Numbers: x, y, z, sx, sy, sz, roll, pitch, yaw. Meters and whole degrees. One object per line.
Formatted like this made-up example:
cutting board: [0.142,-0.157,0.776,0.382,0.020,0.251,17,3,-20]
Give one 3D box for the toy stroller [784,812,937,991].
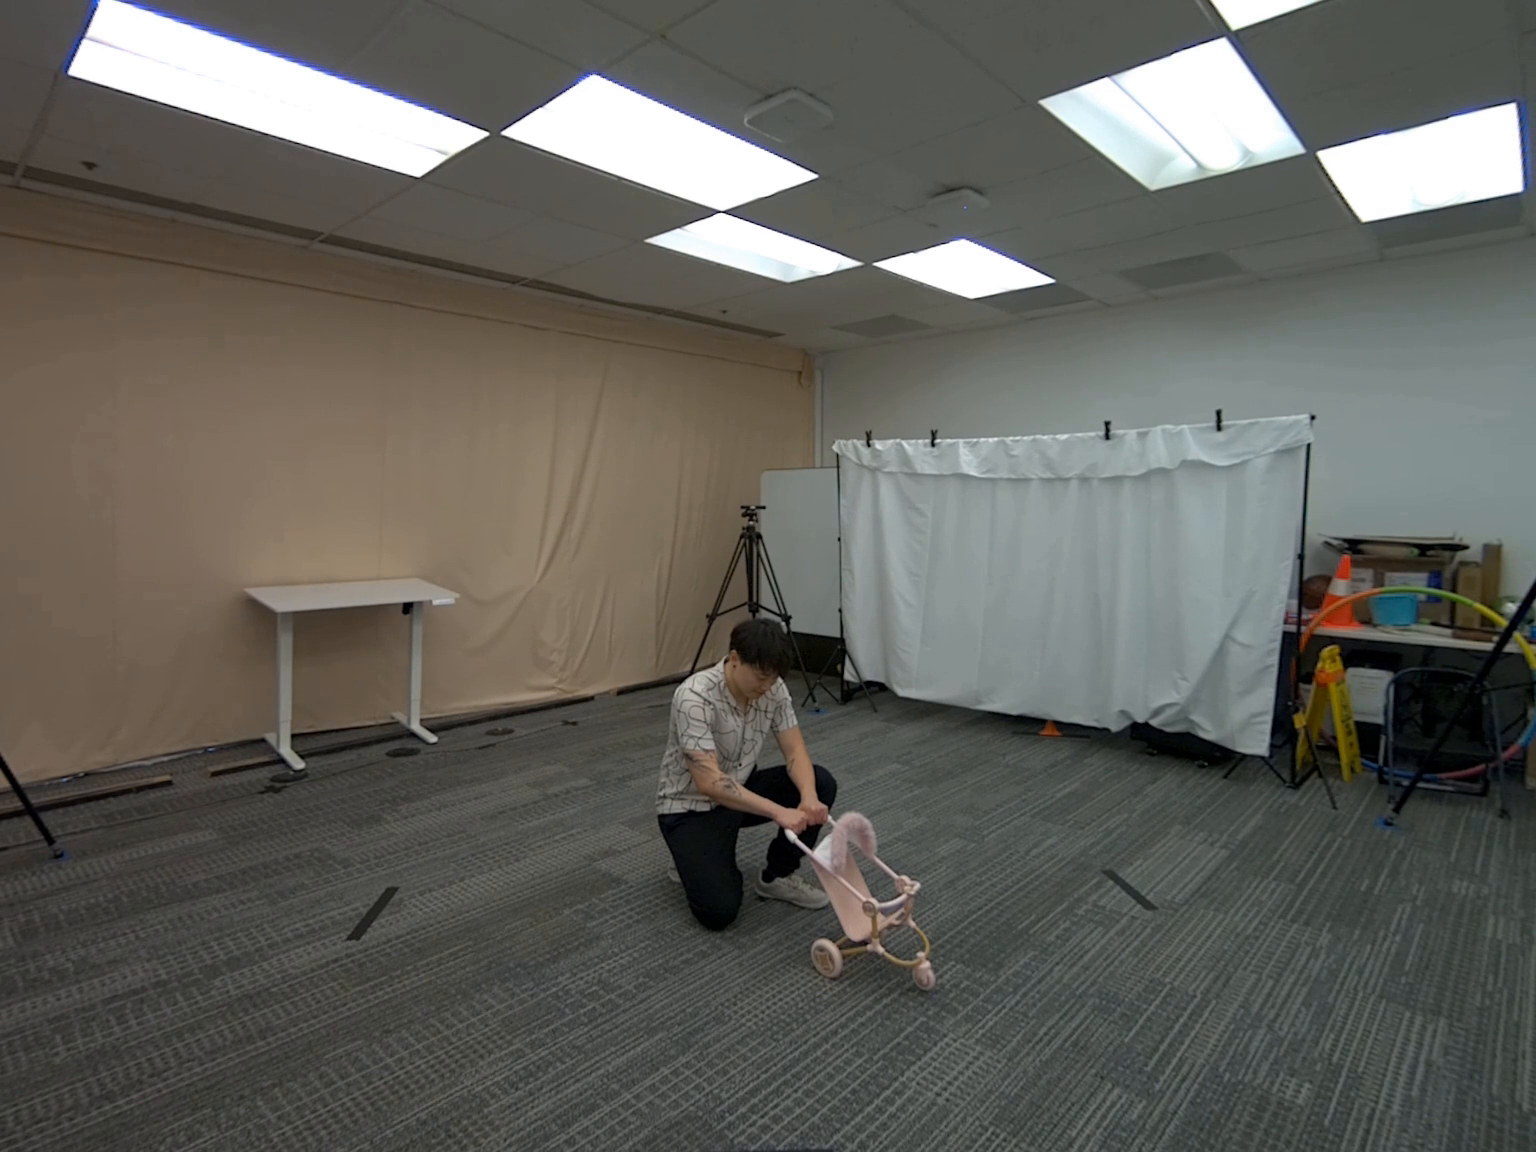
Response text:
toy stroller: [0.293,0.957,2.535,0.273,0.540,0.348,-6,-14,-46]
